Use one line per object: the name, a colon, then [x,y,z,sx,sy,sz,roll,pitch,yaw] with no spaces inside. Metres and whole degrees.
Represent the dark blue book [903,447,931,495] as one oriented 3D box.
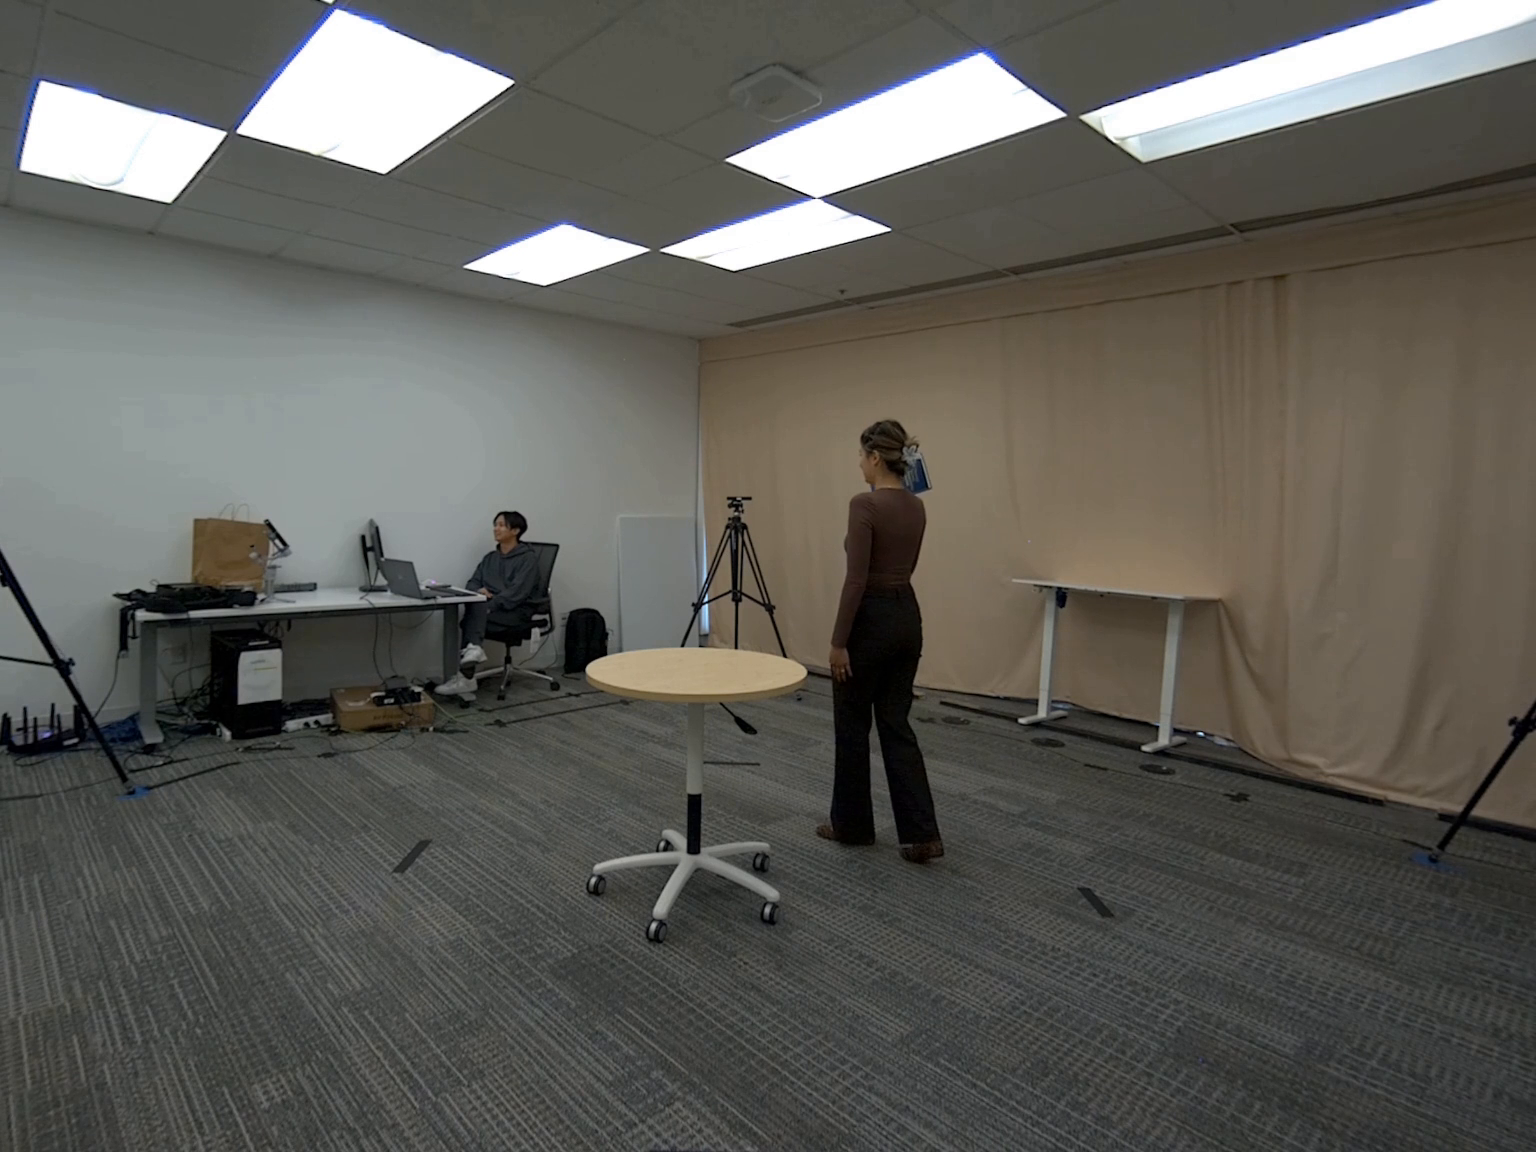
dark blue book: [0.559,-0.416,3.617,0.248,0.165,0.044,-17,-12,25]
